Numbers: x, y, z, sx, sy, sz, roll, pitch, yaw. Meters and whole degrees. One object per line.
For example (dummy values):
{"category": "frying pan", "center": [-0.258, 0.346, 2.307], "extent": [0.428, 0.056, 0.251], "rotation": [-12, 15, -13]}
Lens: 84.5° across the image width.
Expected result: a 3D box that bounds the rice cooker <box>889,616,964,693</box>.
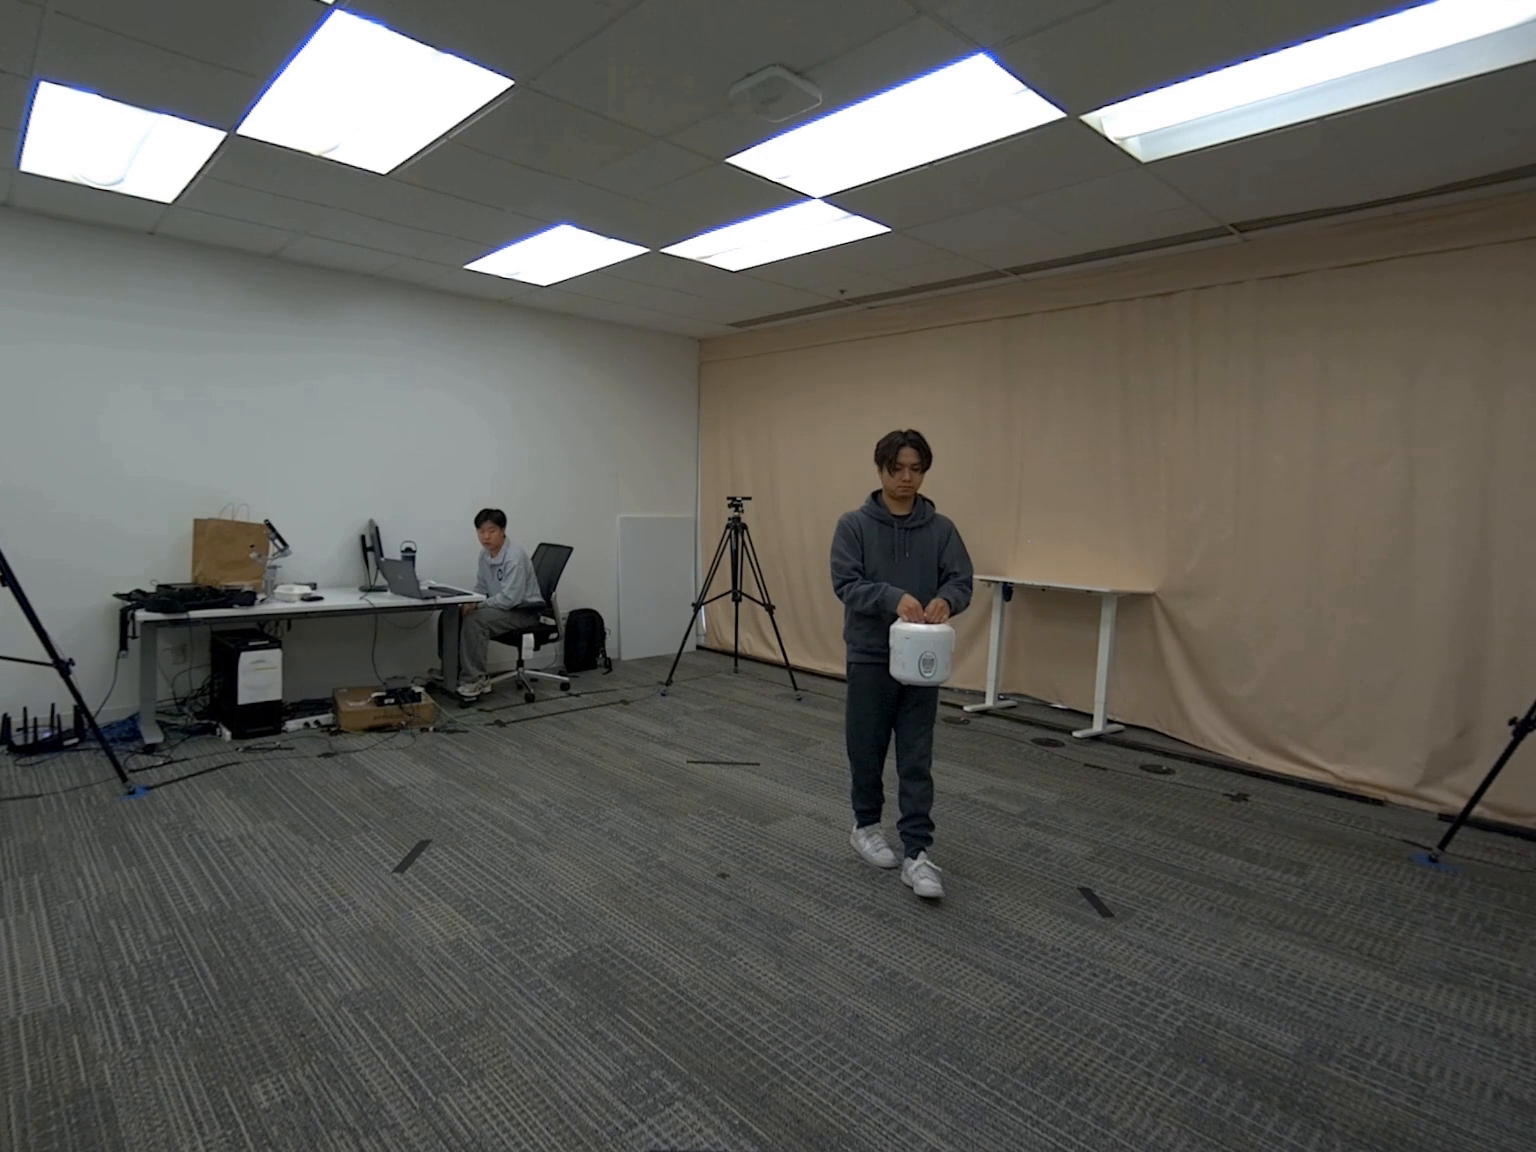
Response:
{"category": "rice cooker", "center": [0.517, 0.250, 2.860], "extent": [0.220, 0.232, 0.218], "rotation": [1, 4, -1]}
